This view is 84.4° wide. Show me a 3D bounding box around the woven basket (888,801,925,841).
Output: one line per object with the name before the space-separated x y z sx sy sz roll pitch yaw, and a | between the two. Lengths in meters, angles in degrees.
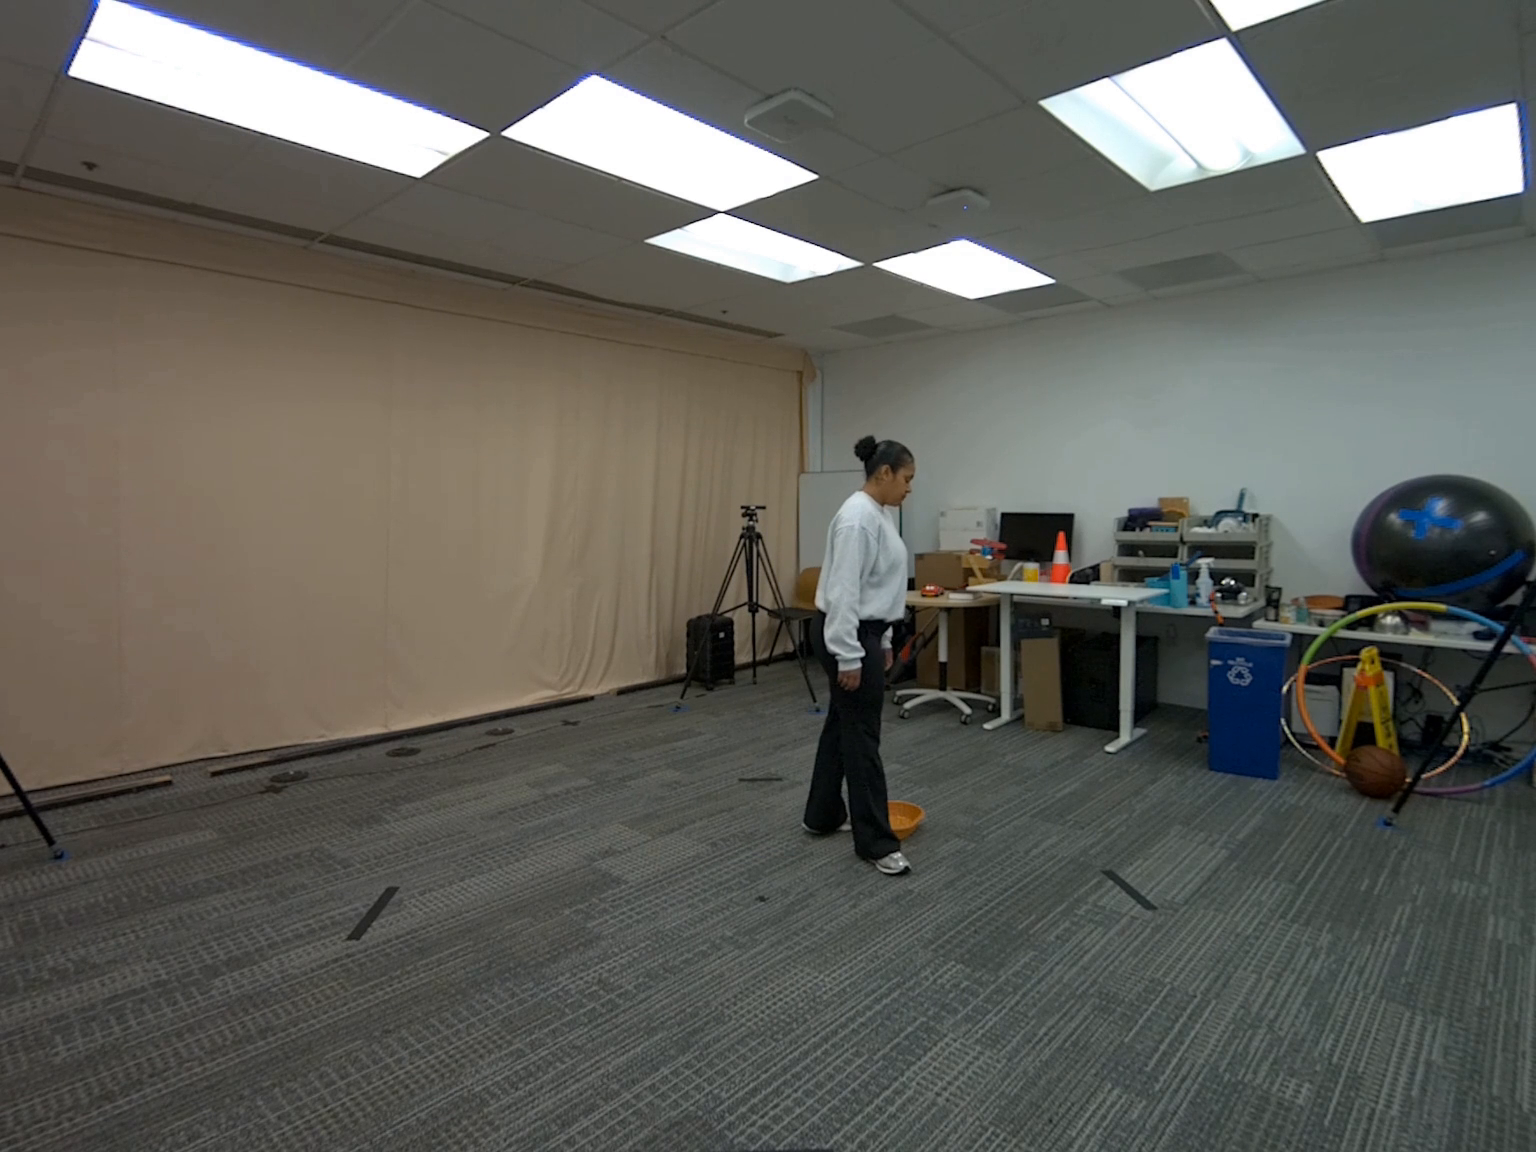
woven basket | 0.524 1.048 3.600 0.260 0.073 0.340 4 6 36
